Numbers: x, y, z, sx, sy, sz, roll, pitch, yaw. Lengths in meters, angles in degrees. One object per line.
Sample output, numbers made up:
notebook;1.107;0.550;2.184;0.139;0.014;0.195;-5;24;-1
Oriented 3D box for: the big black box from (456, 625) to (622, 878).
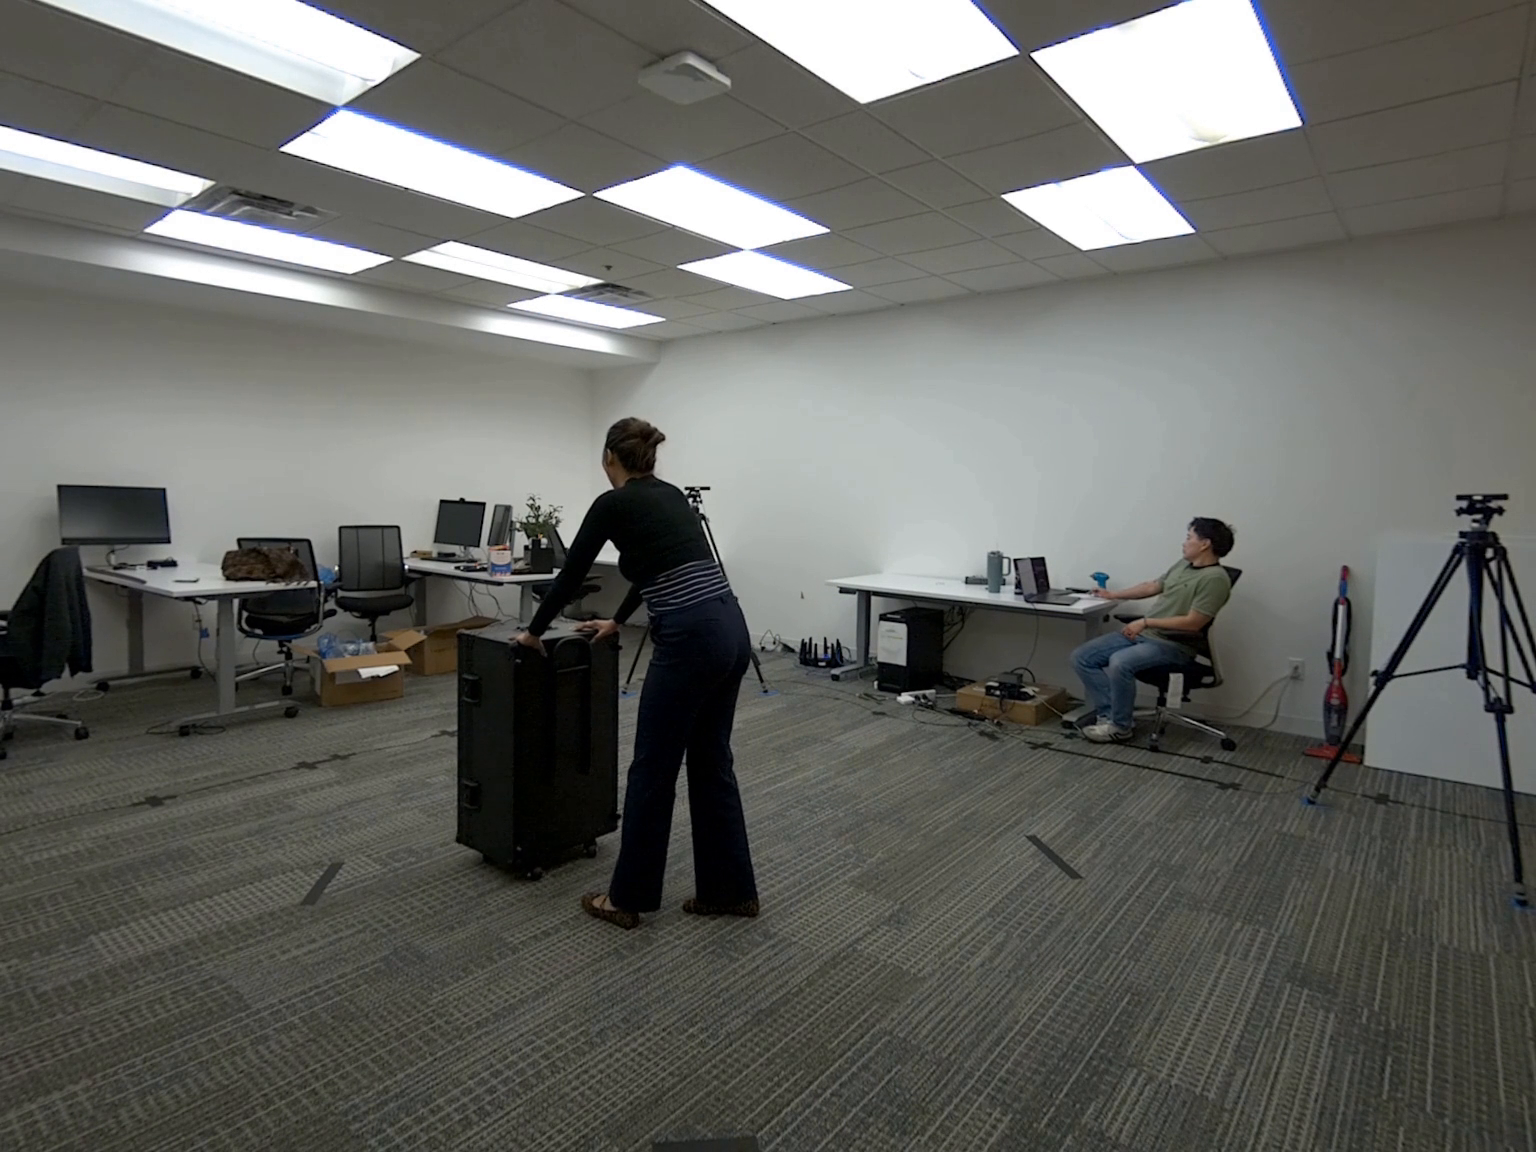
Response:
big black box;-0.860;0.622;3.179;0.410;0.859;0.506;4;5;39
